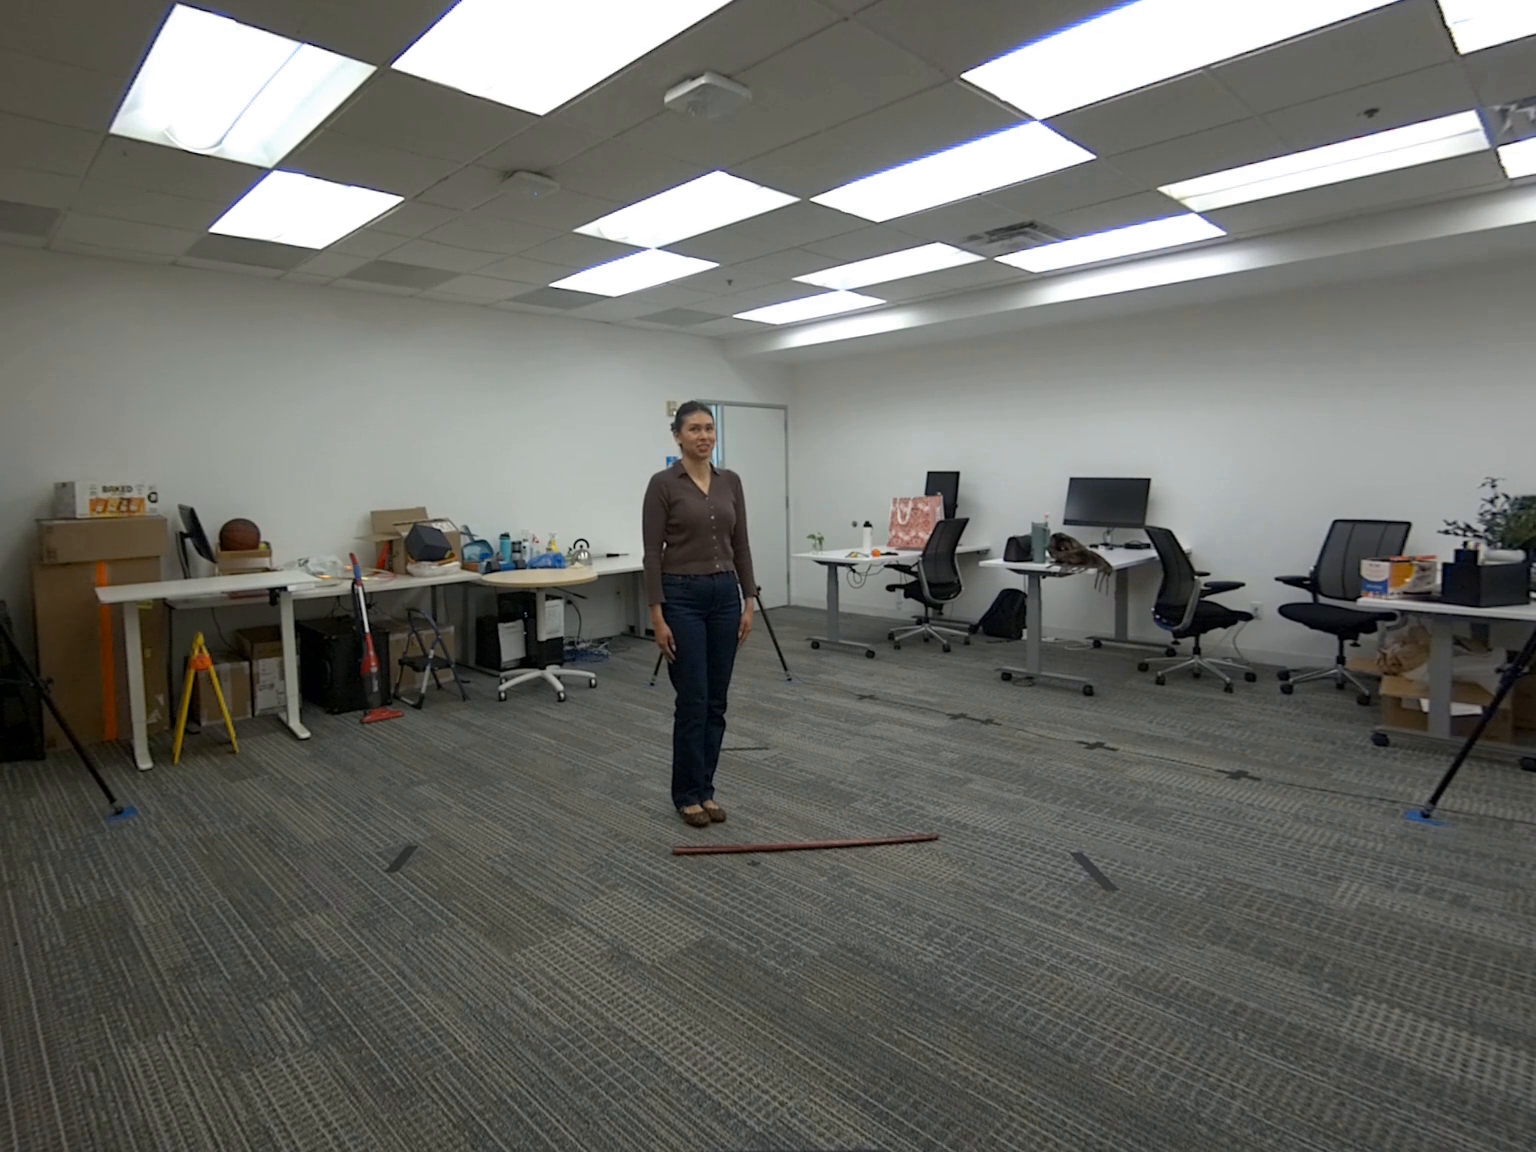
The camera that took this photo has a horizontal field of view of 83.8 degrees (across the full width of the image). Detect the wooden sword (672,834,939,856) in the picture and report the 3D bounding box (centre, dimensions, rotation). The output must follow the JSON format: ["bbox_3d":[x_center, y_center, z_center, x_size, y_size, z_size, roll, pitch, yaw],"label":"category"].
[{"bbox_3d":[0.155,1.006,3.232,1.019,0.024,0.051,-1,-16,-5],"label":"wooden sword"}]
